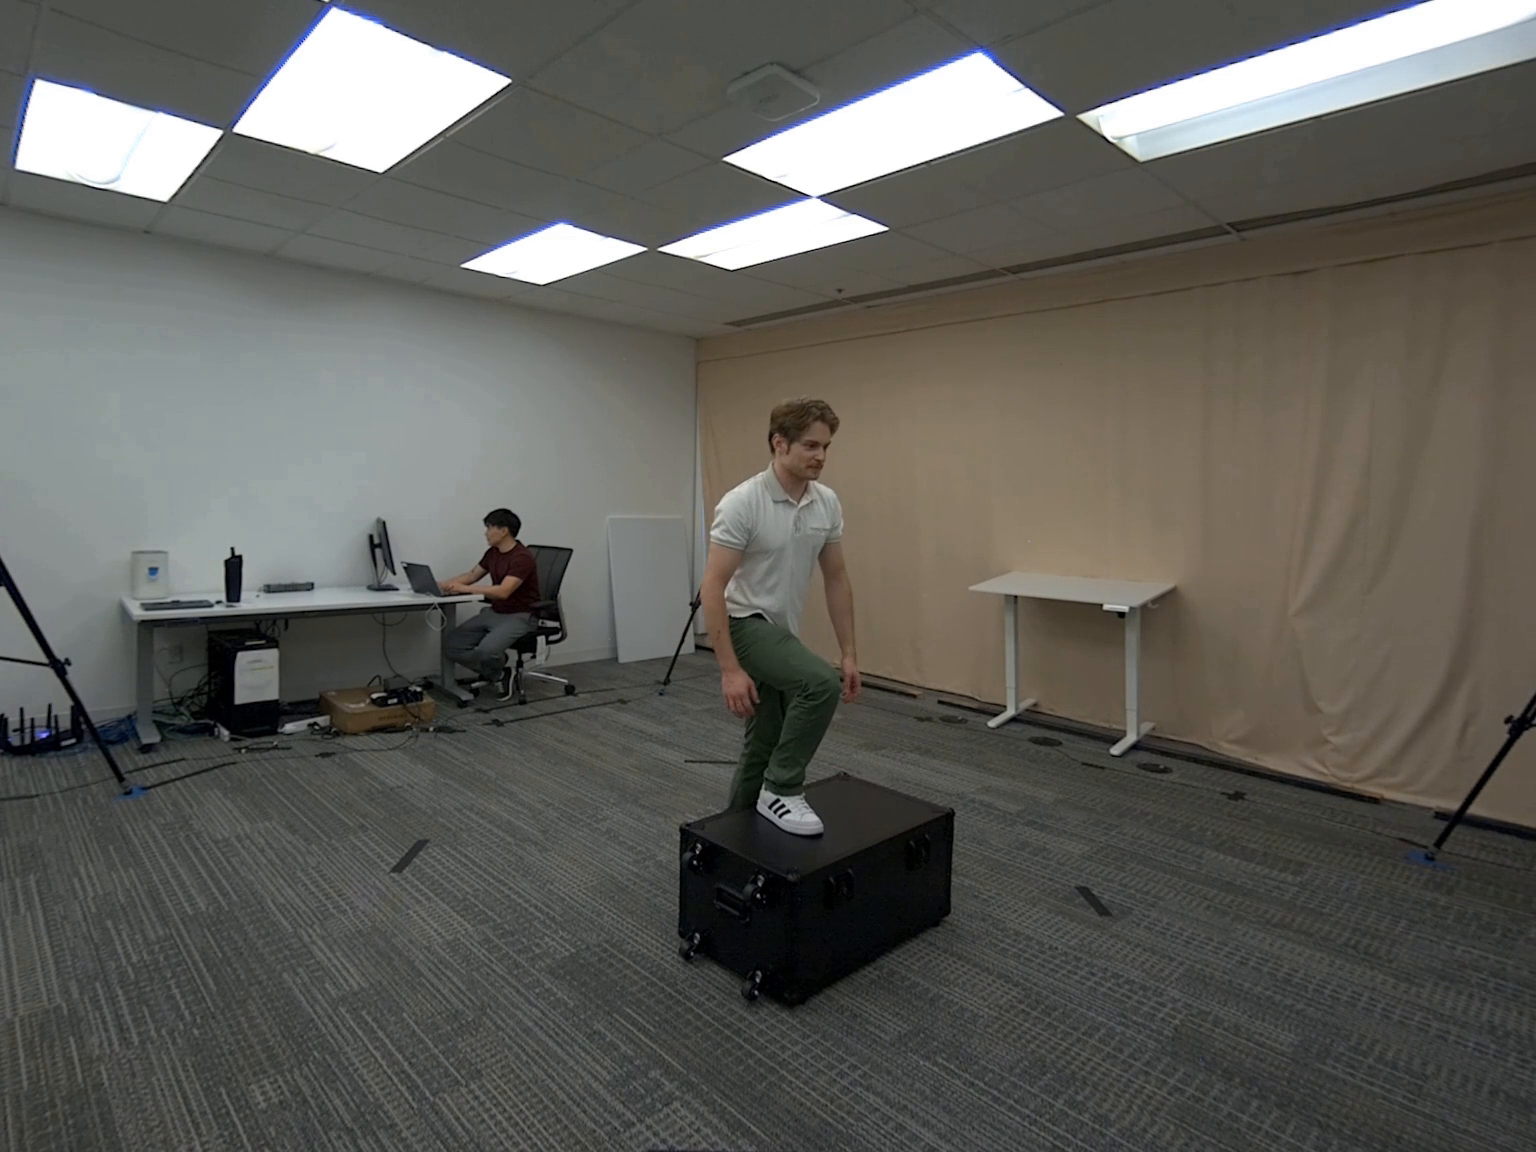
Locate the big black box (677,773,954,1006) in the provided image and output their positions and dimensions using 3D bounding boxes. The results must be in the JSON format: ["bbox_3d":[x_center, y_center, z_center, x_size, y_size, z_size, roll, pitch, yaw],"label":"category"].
[{"bbox_3d":[0.133,0.956,2.680,0.849,0.384,0.537,-4,8,-44],"label":"big black box"}]
